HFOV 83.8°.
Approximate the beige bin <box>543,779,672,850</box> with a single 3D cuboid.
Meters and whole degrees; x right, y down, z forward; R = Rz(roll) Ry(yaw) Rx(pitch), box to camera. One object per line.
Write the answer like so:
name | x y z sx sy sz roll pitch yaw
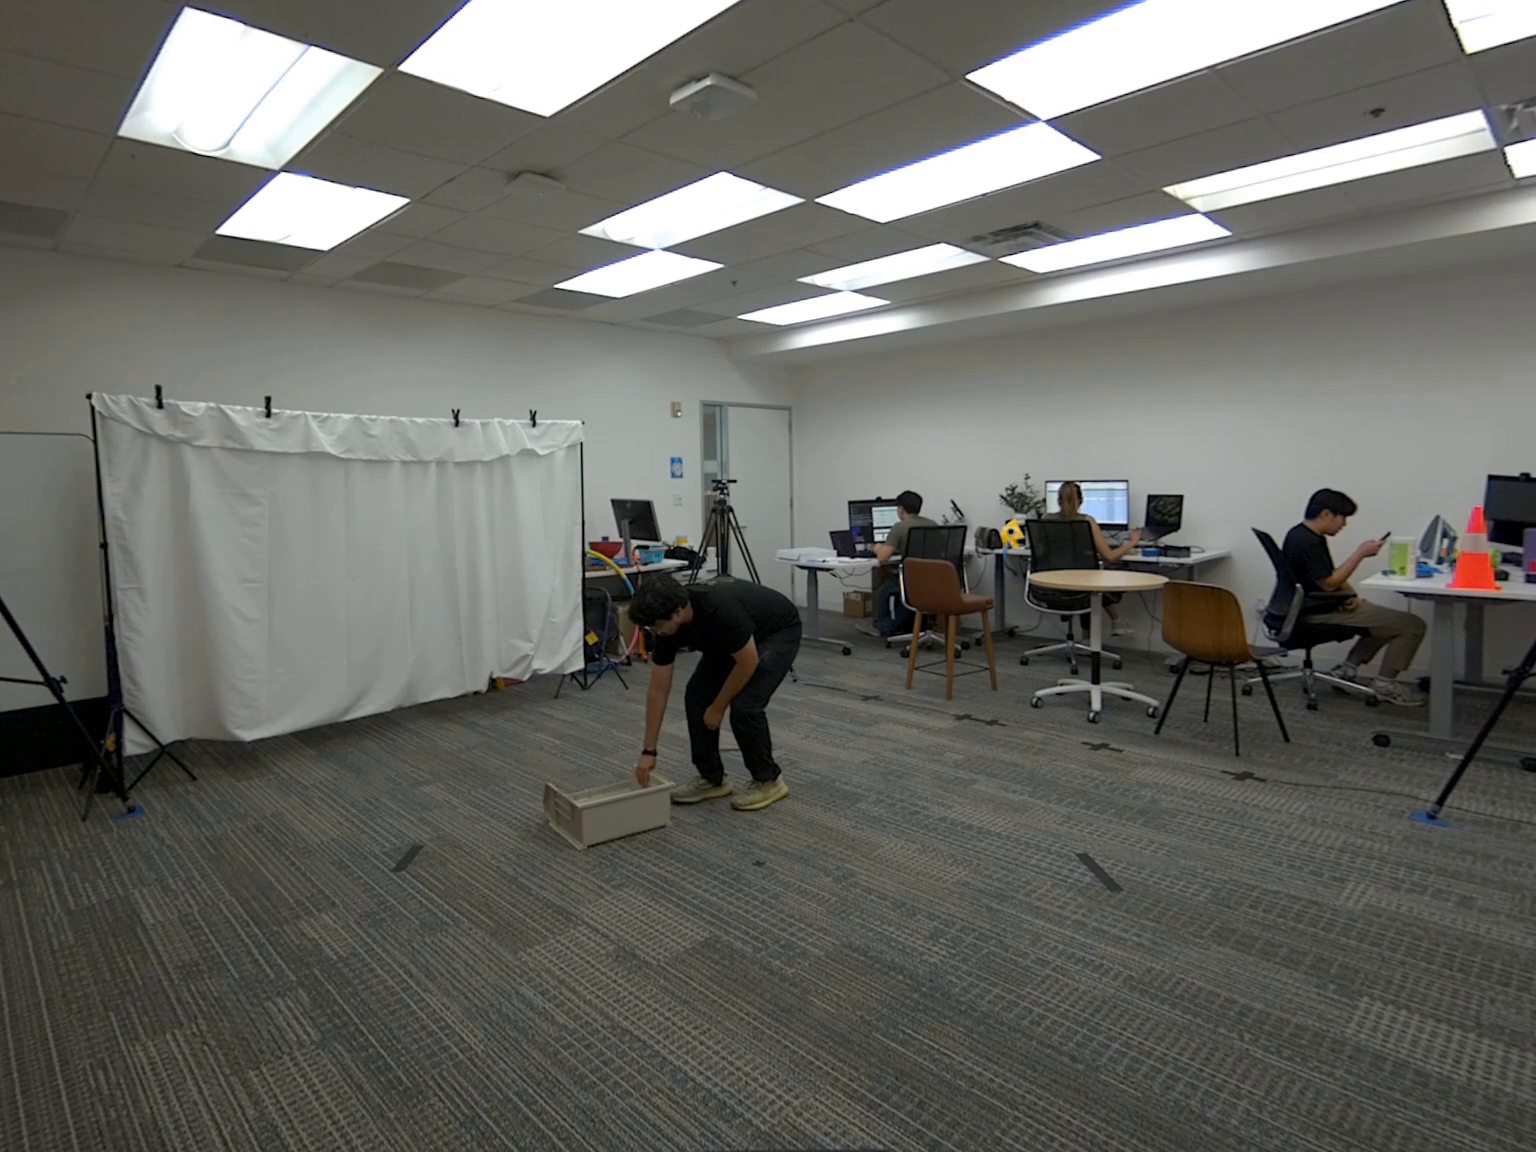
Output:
beige bin | -0.654 0.927 3.501 0.411 0.188 0.389 -4 7 -35
